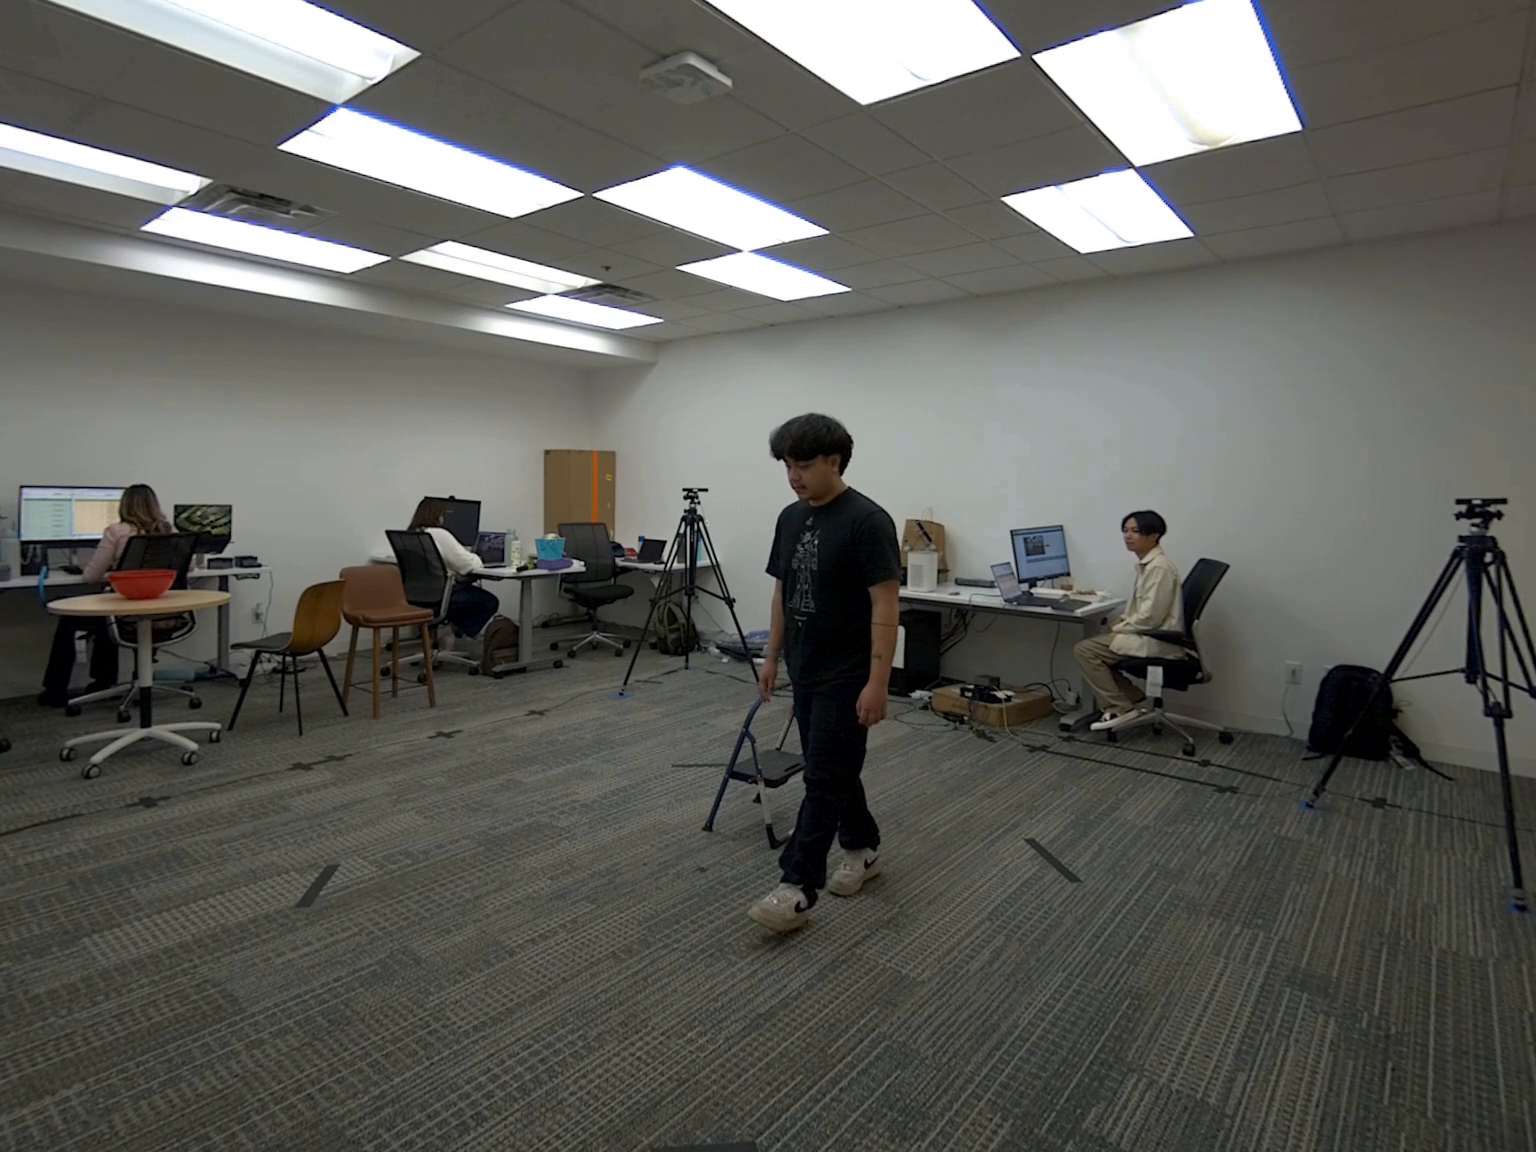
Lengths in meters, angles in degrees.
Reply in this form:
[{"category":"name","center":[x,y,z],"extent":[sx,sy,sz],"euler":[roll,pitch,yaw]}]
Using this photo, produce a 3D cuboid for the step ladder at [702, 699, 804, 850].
[{"category":"step ladder","center":[-0.021,0.730,3.538],"extent":[0.360,0.605,0.419],"euler":[2,3,31]}]
